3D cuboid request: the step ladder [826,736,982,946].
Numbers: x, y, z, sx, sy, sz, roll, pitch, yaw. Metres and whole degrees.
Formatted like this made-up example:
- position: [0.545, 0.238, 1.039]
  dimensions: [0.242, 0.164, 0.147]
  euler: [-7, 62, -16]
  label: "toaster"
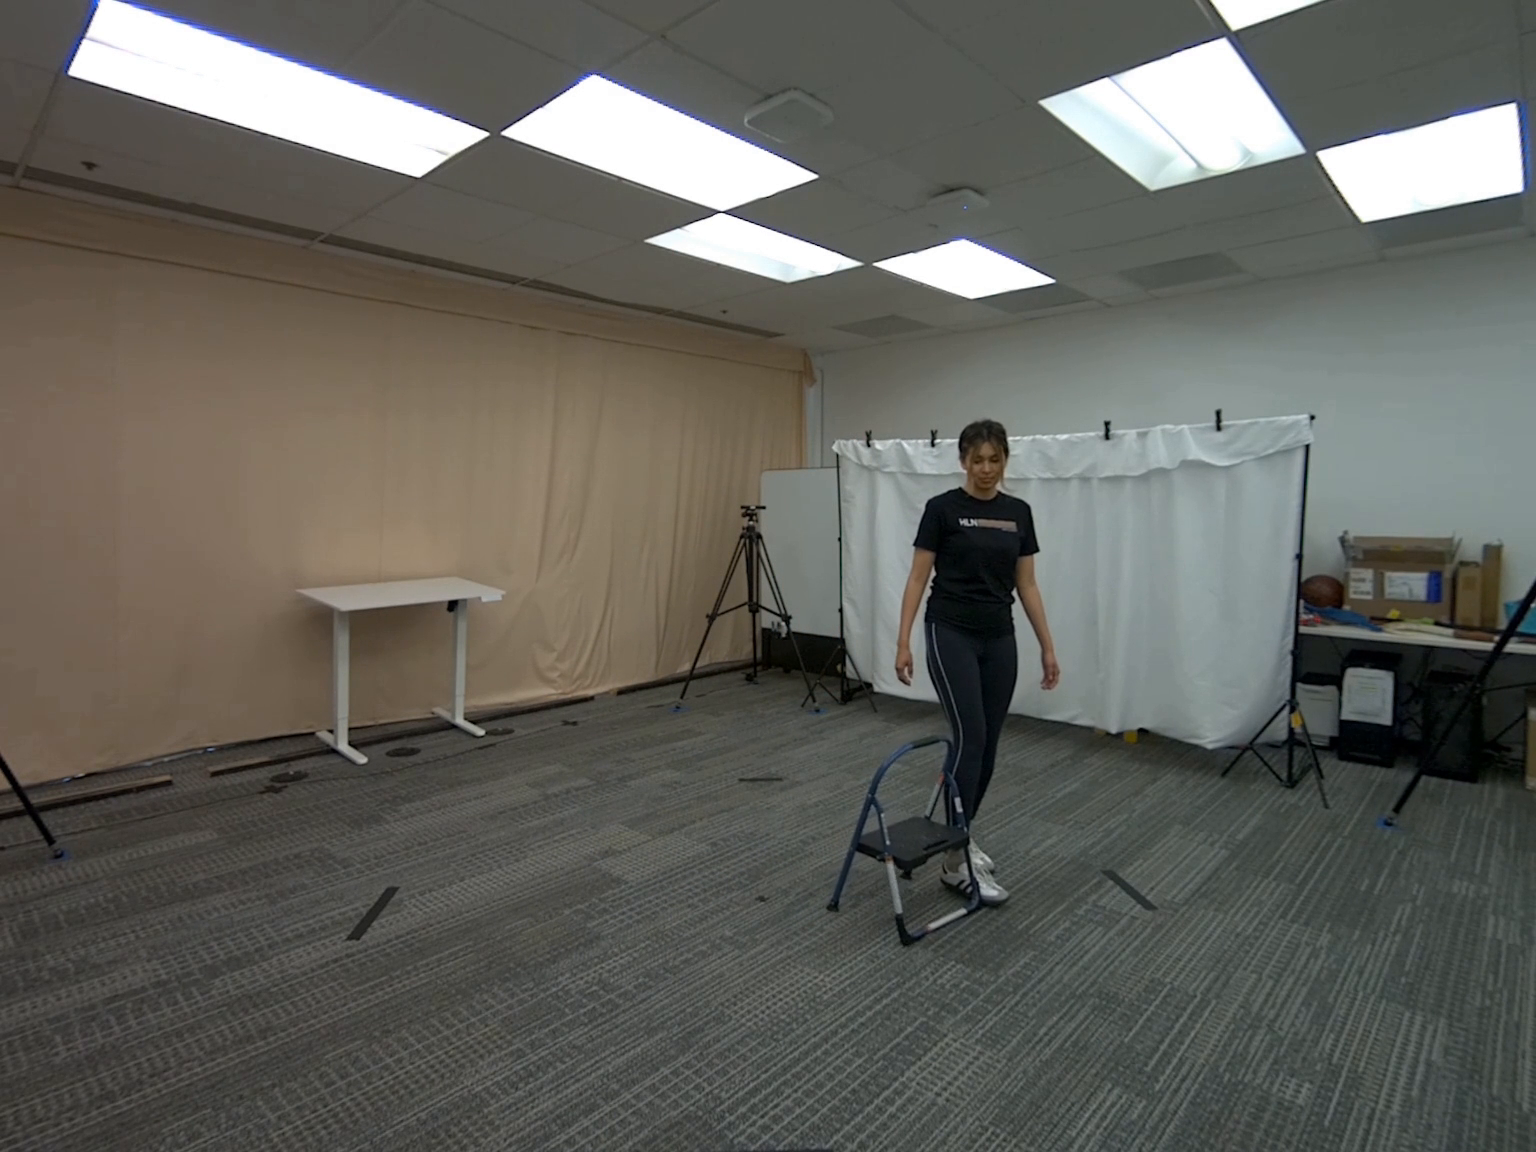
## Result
- position: [0.468, 0.848, 2.889]
  dimensions: [0.417, 0.605, 0.361]
  euler: [-3, 4, -40]
  label: "step ladder"
